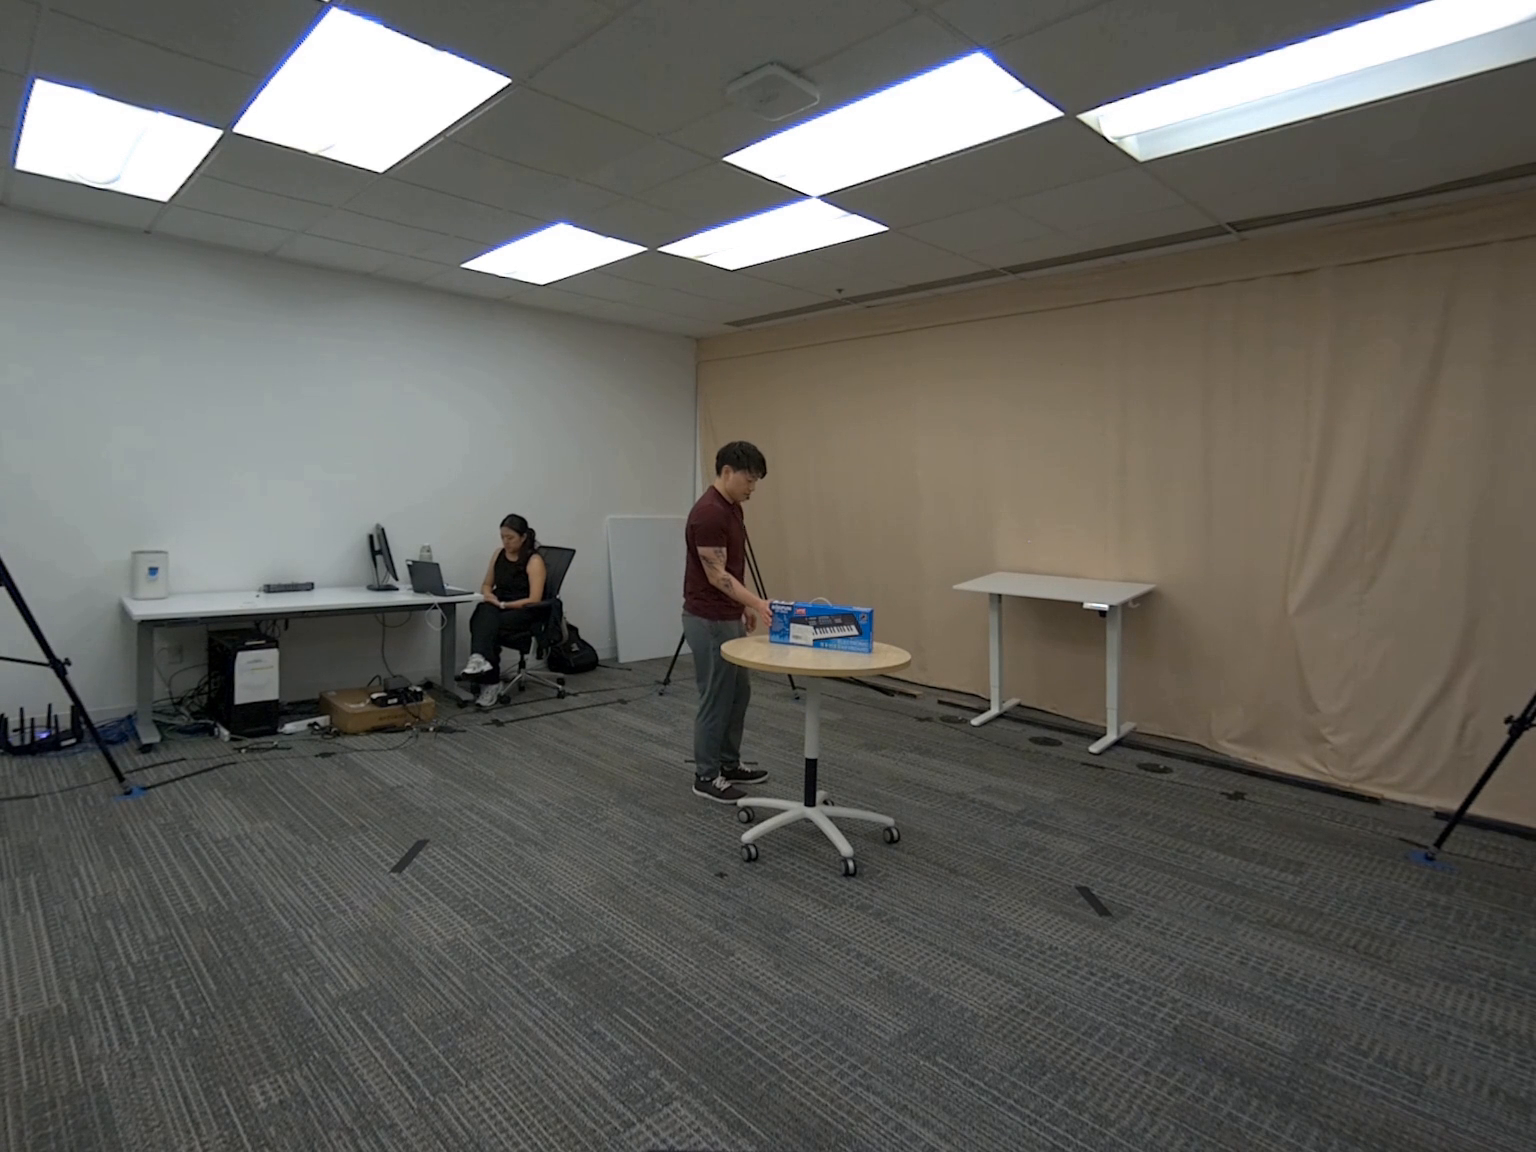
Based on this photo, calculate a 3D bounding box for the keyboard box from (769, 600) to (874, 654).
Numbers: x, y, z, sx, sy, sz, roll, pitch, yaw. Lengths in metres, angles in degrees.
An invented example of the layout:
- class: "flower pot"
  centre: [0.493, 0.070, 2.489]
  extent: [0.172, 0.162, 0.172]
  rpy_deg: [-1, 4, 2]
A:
- class: "keyboard box"
  centre: [0.214, 0.209, 3.489]
  extent: [0.445, 0.175, 0.058]
  rpy_deg: [4, 10, 24]
